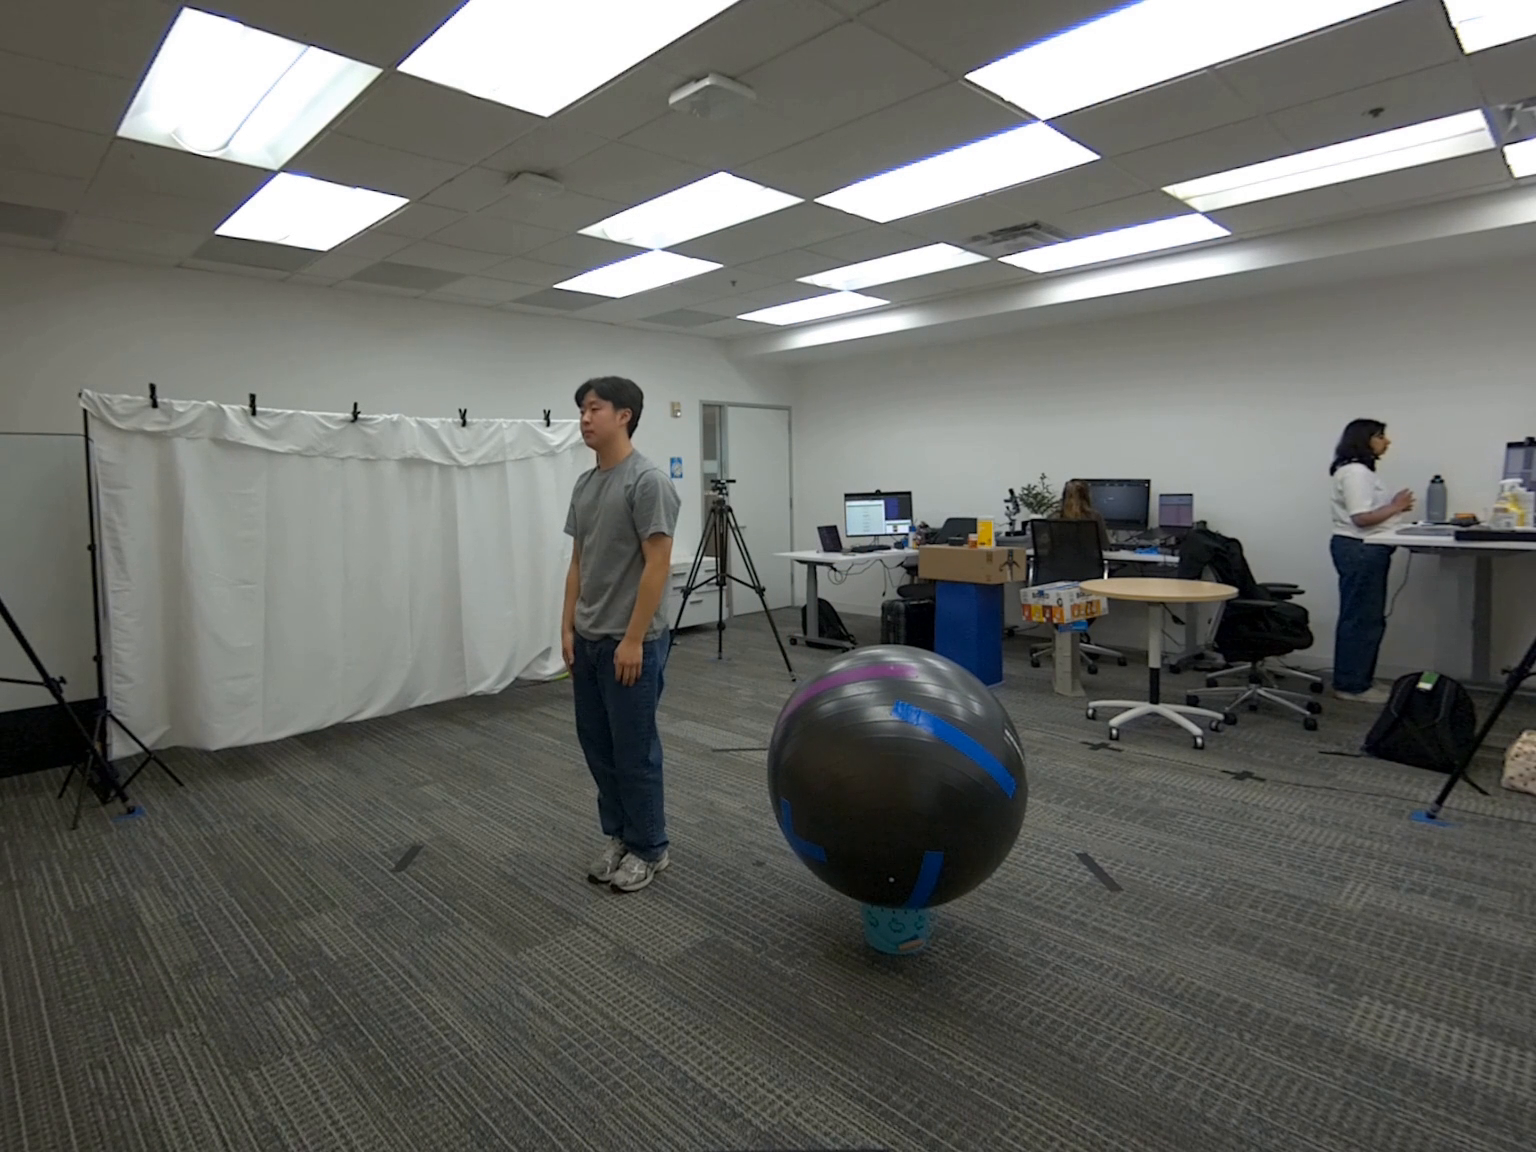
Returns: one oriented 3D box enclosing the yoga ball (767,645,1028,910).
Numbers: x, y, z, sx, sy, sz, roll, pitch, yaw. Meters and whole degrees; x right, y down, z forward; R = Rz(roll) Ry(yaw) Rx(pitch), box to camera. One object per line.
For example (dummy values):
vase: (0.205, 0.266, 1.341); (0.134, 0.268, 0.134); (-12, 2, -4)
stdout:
yoga ball: (0.382, 0.593, 2.556); (0.757, 0.755, 0.762); (-1, 5, -2)
